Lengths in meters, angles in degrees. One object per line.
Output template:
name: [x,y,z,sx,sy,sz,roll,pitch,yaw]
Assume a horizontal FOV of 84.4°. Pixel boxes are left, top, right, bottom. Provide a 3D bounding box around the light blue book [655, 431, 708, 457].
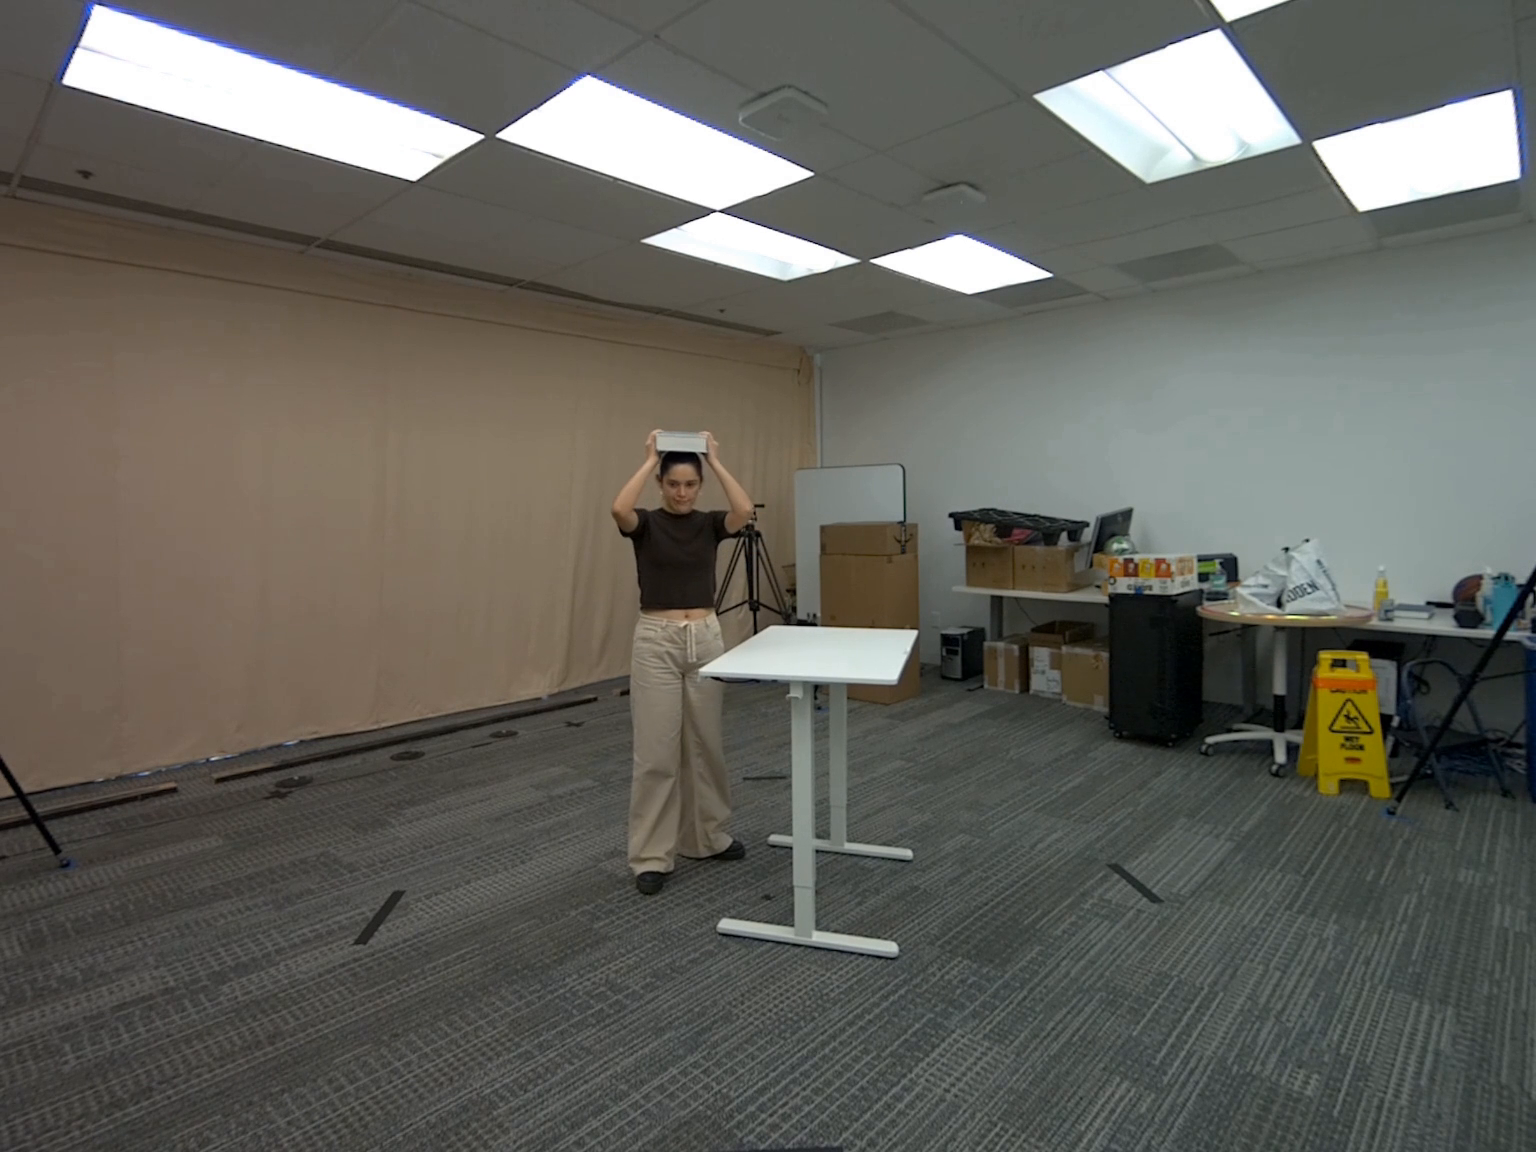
light blue book: [-0.344,-0.512,3.171,0.191,0.058,0.263,2,11,-2]
